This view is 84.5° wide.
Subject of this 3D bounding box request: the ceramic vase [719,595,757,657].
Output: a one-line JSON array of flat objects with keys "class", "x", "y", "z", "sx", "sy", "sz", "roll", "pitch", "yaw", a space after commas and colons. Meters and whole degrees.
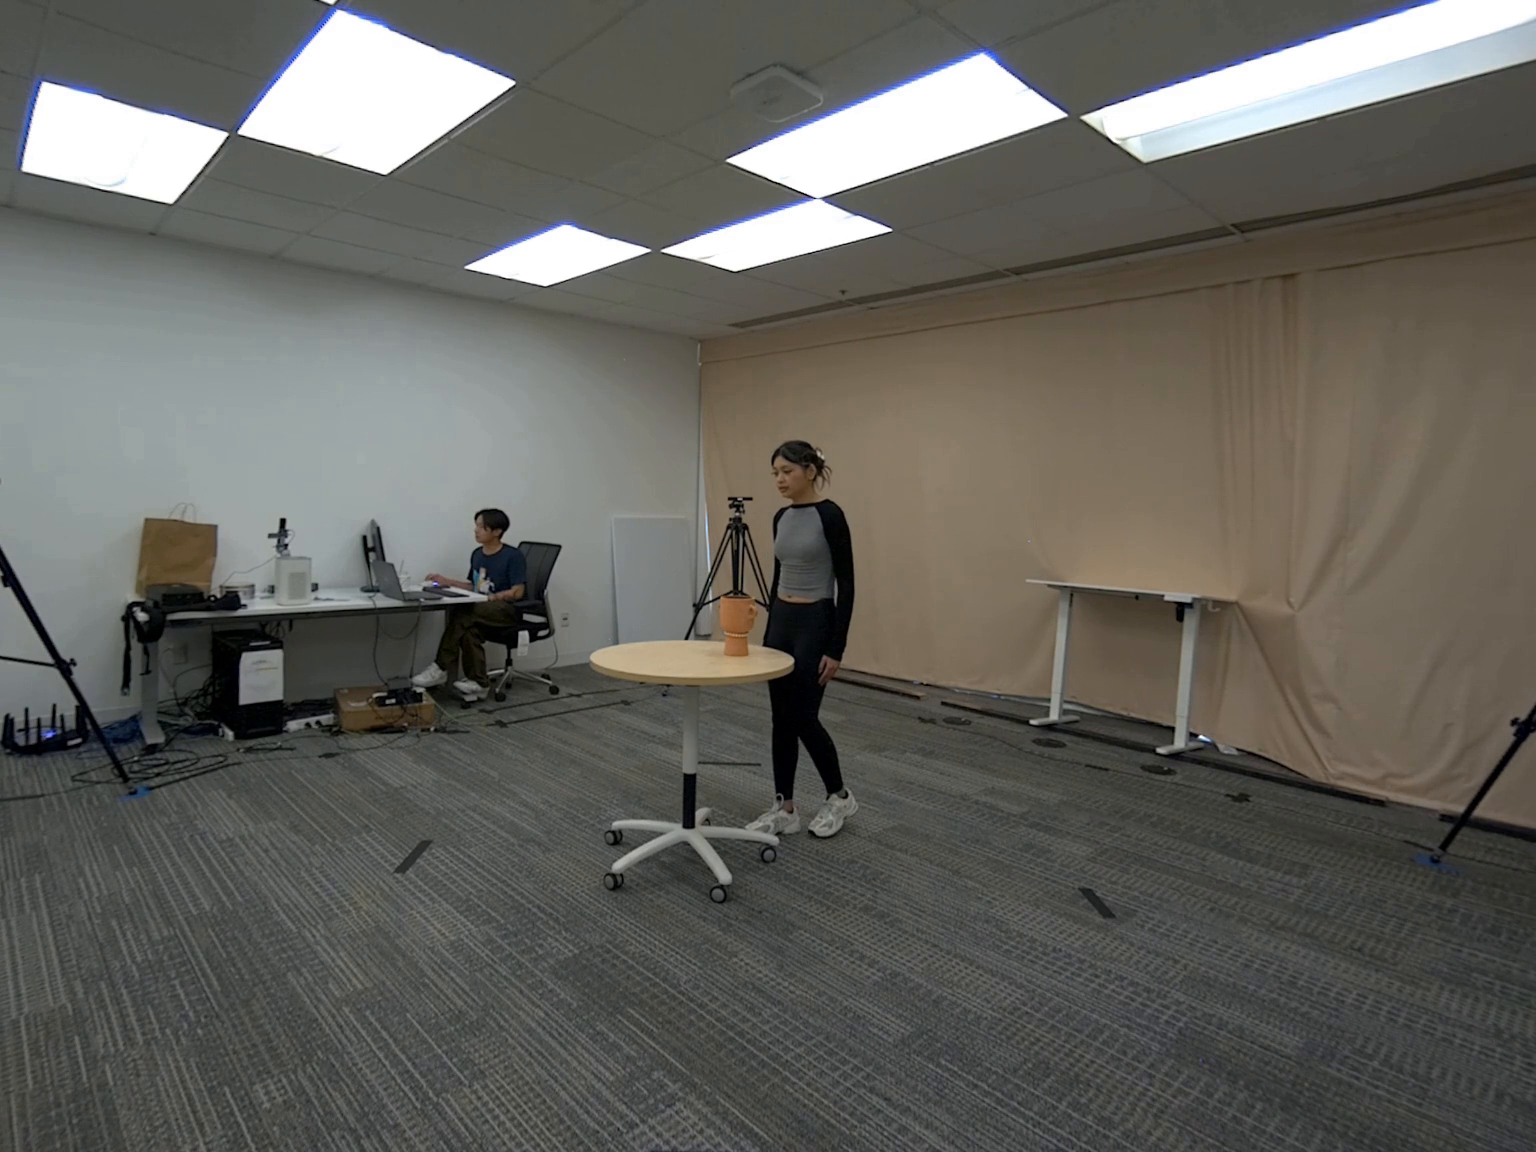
[{"class": "ceramic vase", "x": -0.127, "y": 0.194, "z": 3.246, "sx": 0.133, "sy": 0.219, "sz": 0.160, "roll": 0, "pitch": 3, "yaw": -11}]
